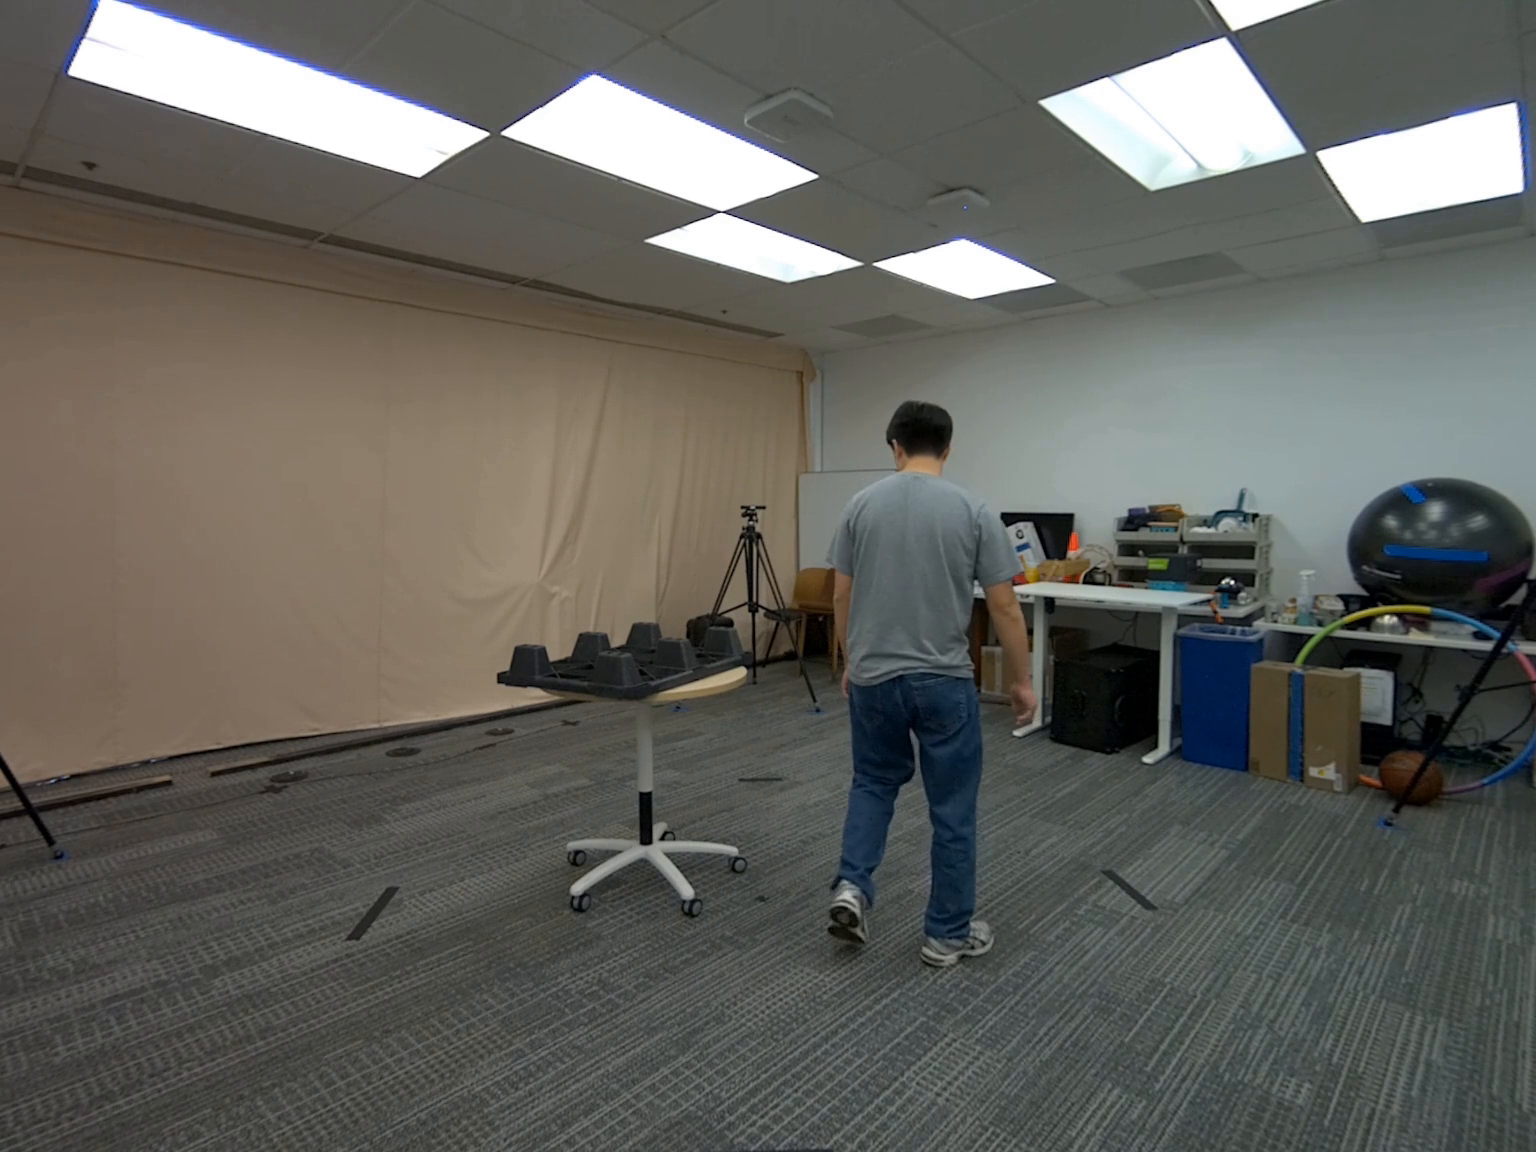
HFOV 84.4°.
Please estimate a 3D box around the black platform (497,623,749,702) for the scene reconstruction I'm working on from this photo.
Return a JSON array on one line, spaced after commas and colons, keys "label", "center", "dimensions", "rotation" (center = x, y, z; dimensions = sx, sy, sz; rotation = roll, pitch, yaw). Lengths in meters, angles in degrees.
[{"label": "black platform", "center": [-0.496, 0.293, 3.091], "dimensions": [0.622, 0.143, 0.785], "rotation": [1, 4, 29]}]
